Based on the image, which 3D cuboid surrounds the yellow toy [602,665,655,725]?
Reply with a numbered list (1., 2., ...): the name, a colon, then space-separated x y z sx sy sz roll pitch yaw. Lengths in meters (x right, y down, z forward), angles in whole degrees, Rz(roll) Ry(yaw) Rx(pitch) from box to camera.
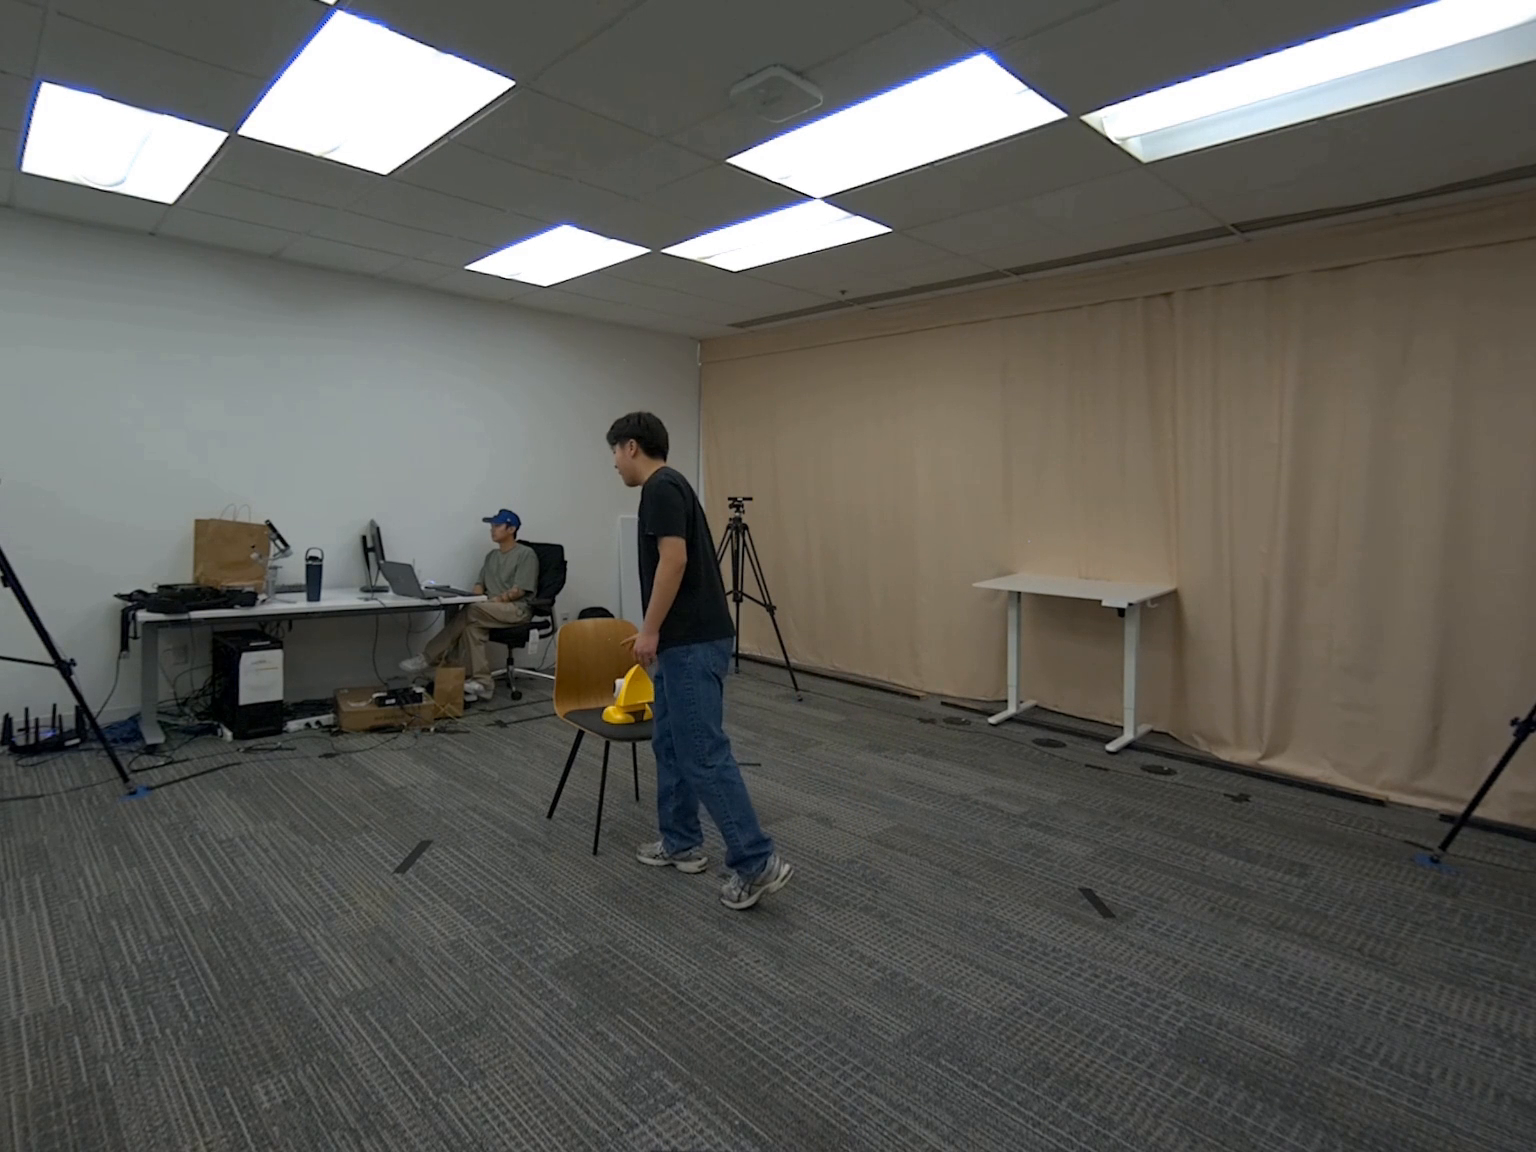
1. yellow toy: -0.580 0.470 3.460 0.198 0.230 0.200 2 3 45
